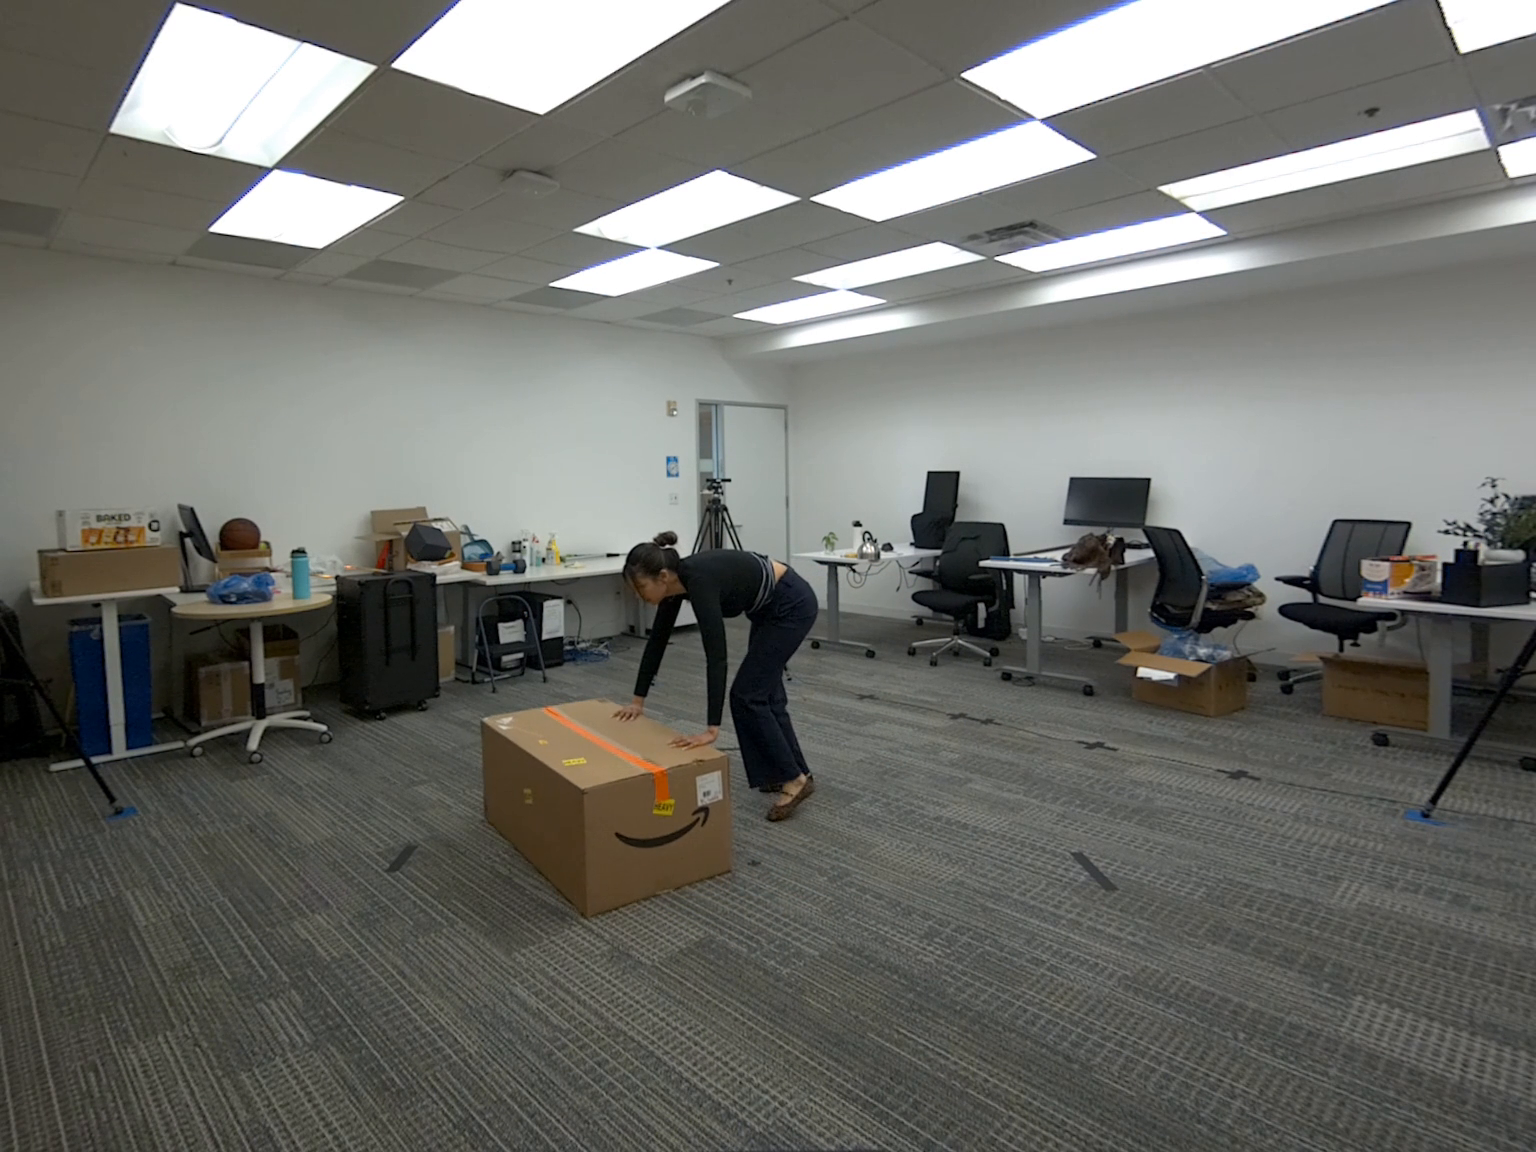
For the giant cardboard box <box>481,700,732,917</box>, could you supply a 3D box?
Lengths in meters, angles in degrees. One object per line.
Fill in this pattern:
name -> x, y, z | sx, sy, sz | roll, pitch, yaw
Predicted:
giant cardboard box -> -0.663, 0.824, 3.297 | 0.563, 0.424, 1.056 | -4, 6, -36
